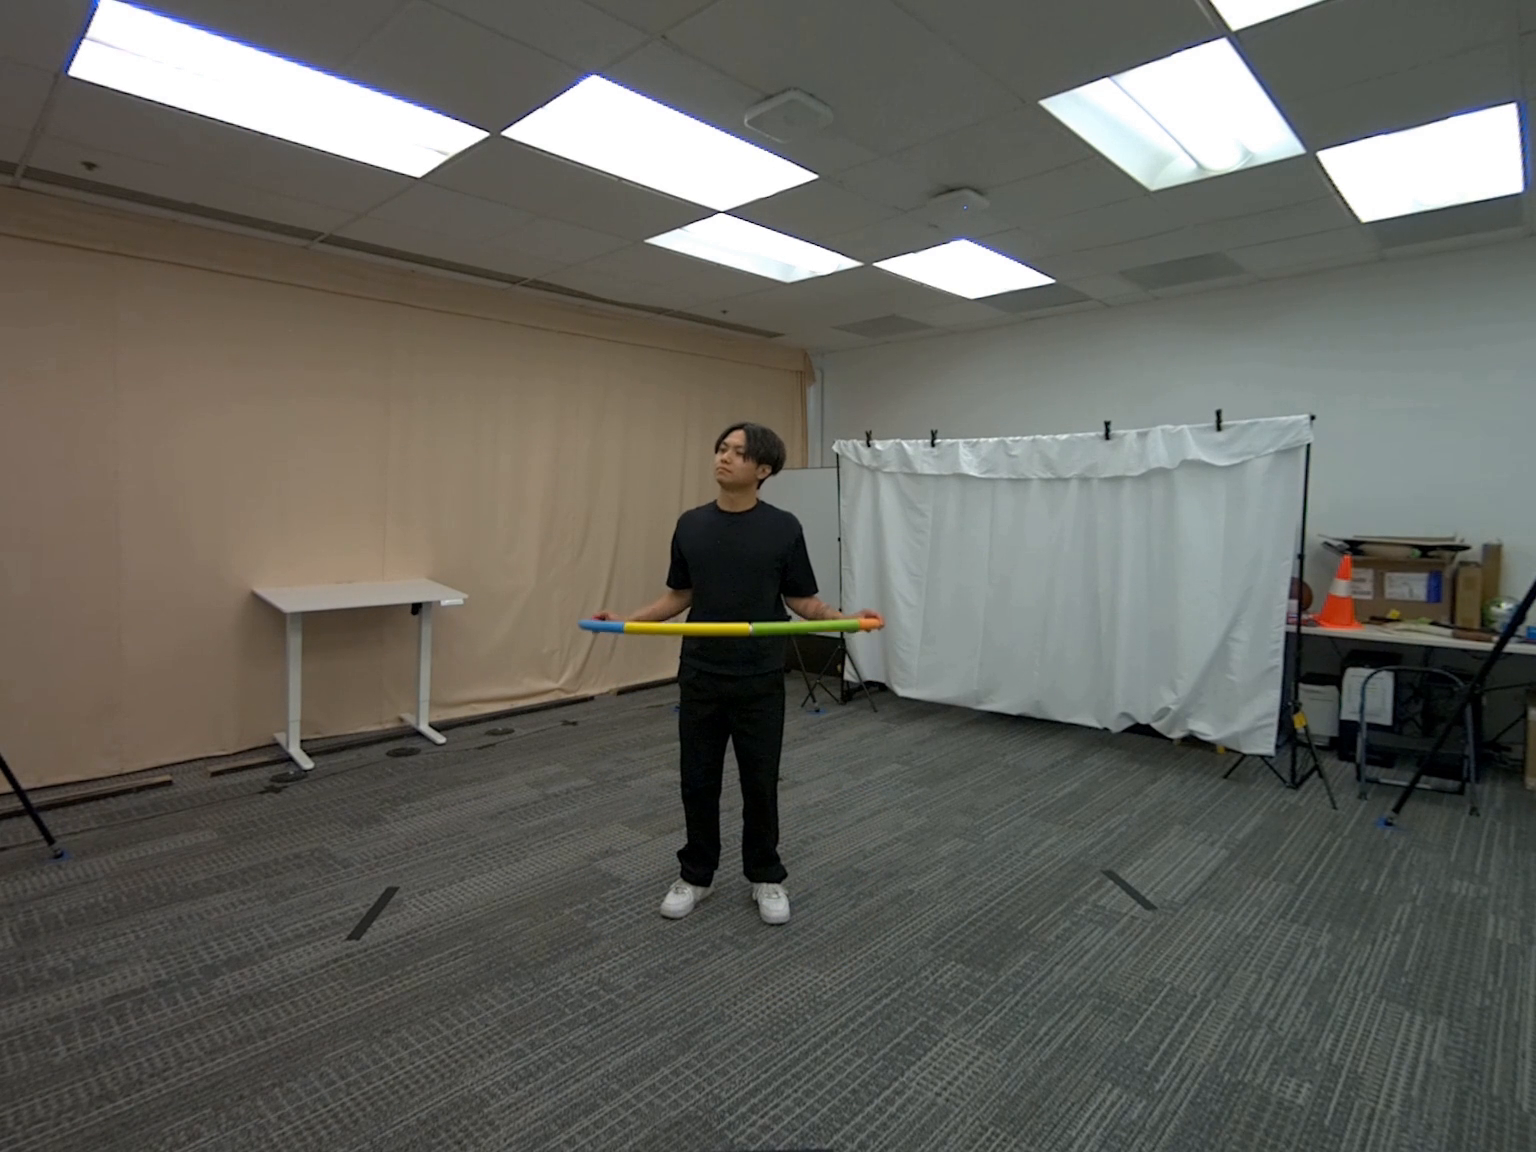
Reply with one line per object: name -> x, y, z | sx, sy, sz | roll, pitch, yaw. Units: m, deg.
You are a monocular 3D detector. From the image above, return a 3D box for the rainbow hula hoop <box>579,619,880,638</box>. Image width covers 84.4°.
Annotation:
rainbow hula hoop -> -0.125, 0.158, 2.794 | 0.978, 0.035, 0.977 | 1, -3, -2
